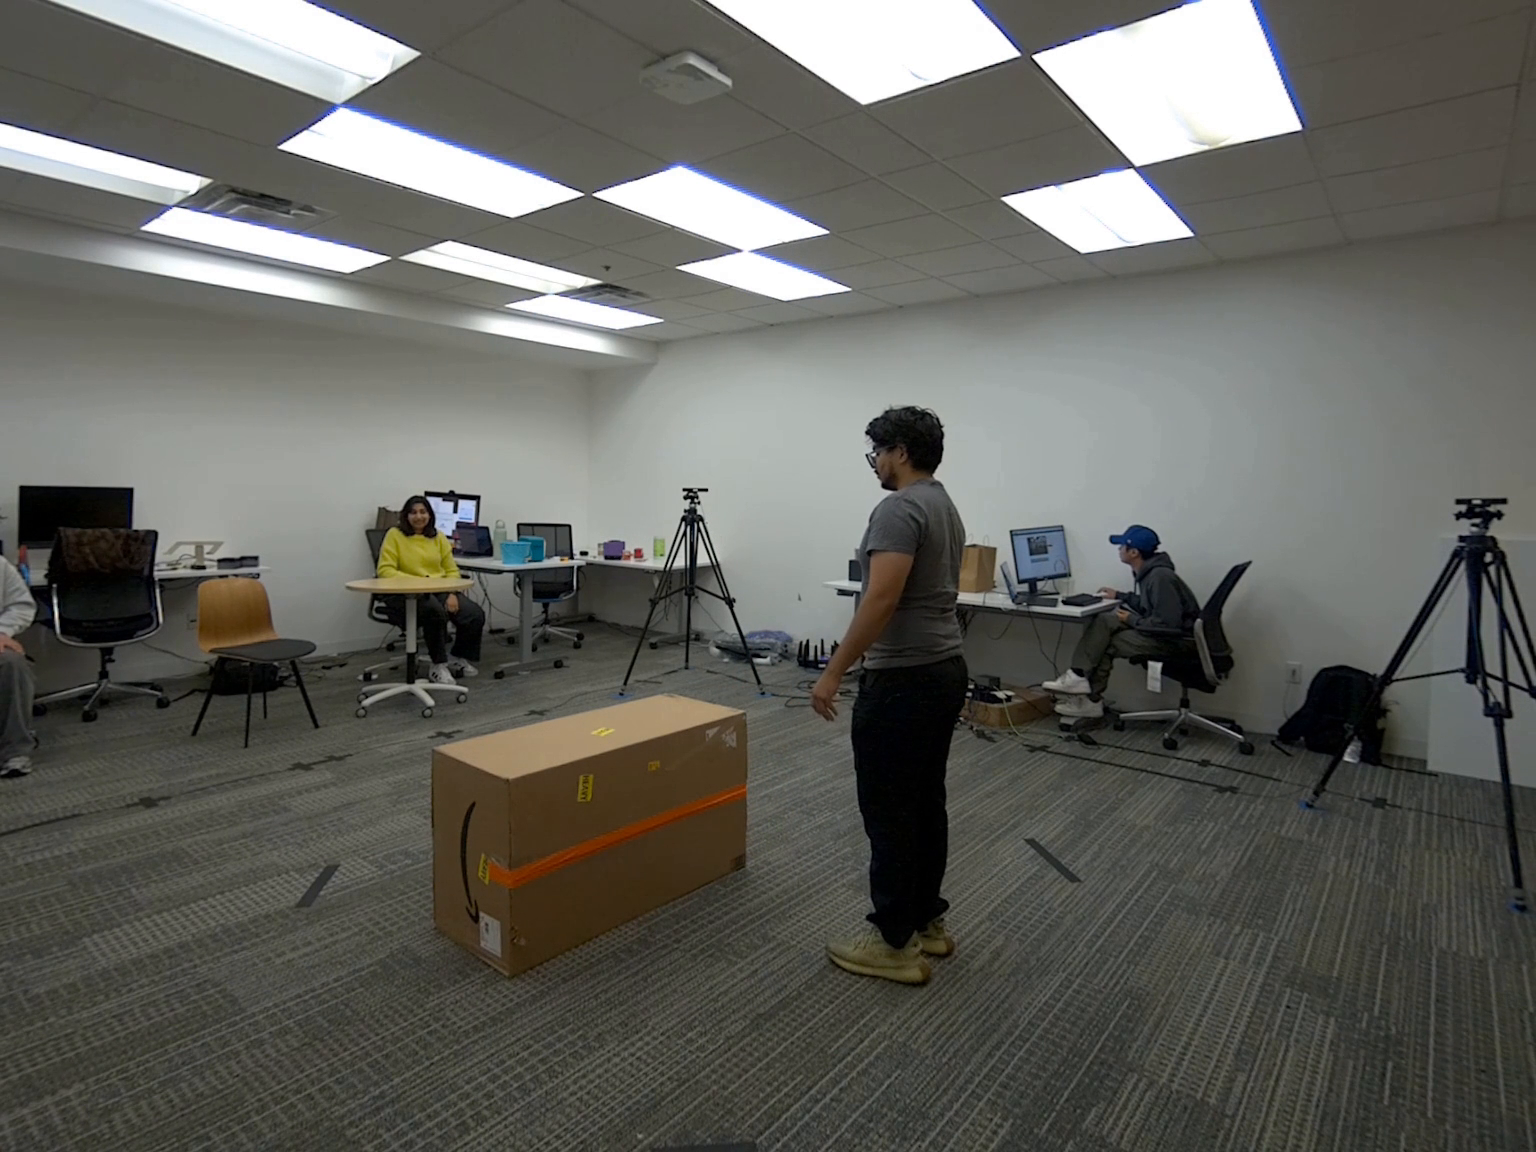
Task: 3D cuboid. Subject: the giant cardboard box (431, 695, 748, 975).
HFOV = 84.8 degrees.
[{"bbox_3d":[-0.574,0.800,2.890,0.440,0.575,0.996,4,6,42],"label":"giant cardboard box"}]
